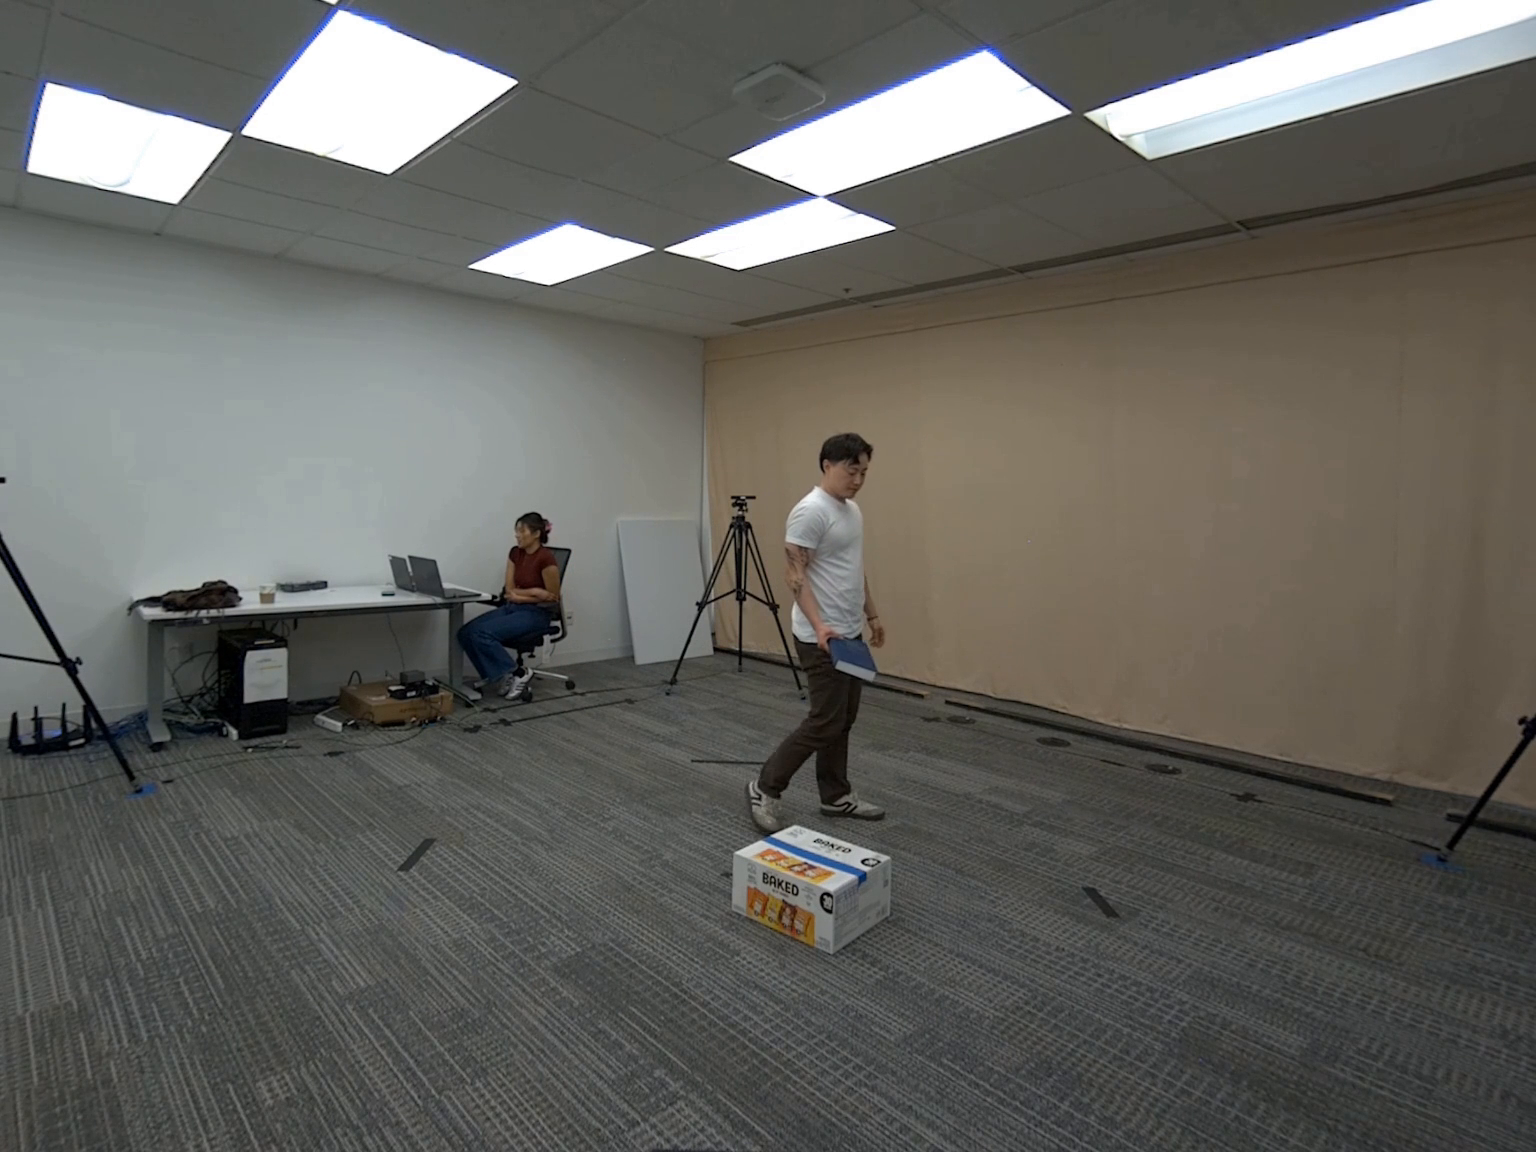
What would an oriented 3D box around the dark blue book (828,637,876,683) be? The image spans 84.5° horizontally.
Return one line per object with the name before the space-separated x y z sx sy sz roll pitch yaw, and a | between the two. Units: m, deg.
dark blue book | 0.301 0.305 3.240 0.162 0.045 0.249 17 18 -9
